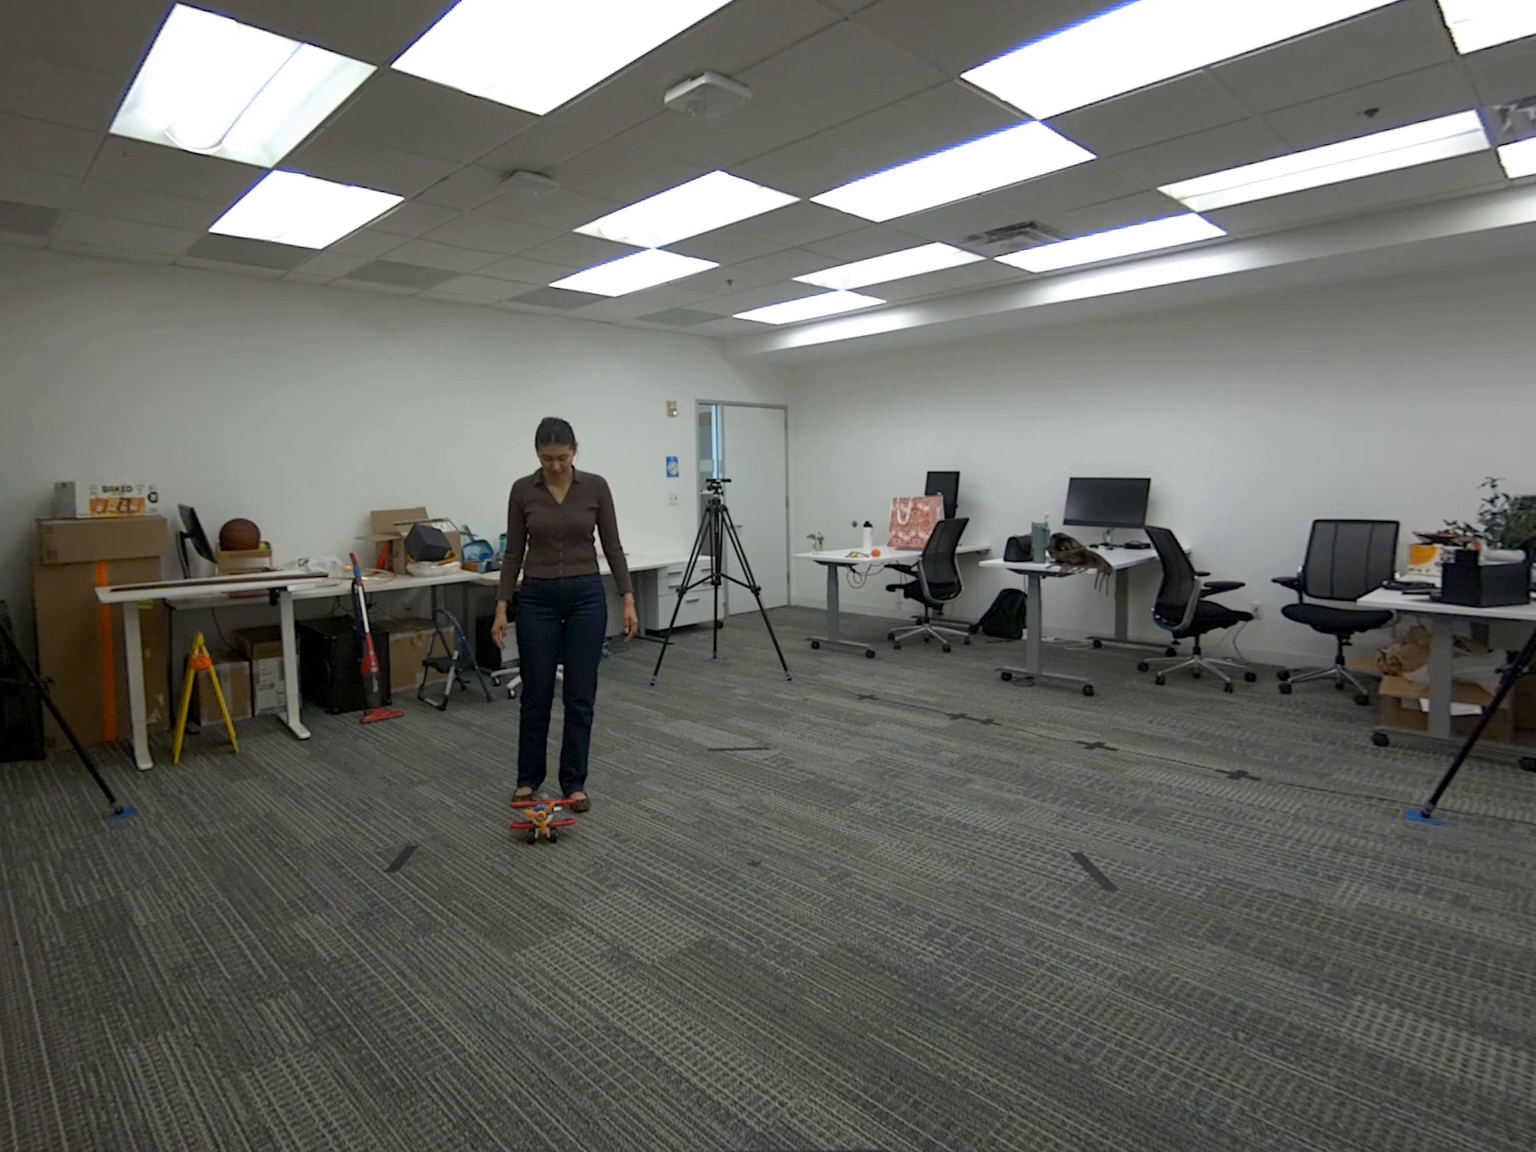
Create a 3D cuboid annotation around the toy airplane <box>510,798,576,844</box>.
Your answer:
[{"bbox_3d":[-0.911,0.958,3.406,0.245,0.156,0.267,-6,7,-38],"label":"toy airplane"}]
